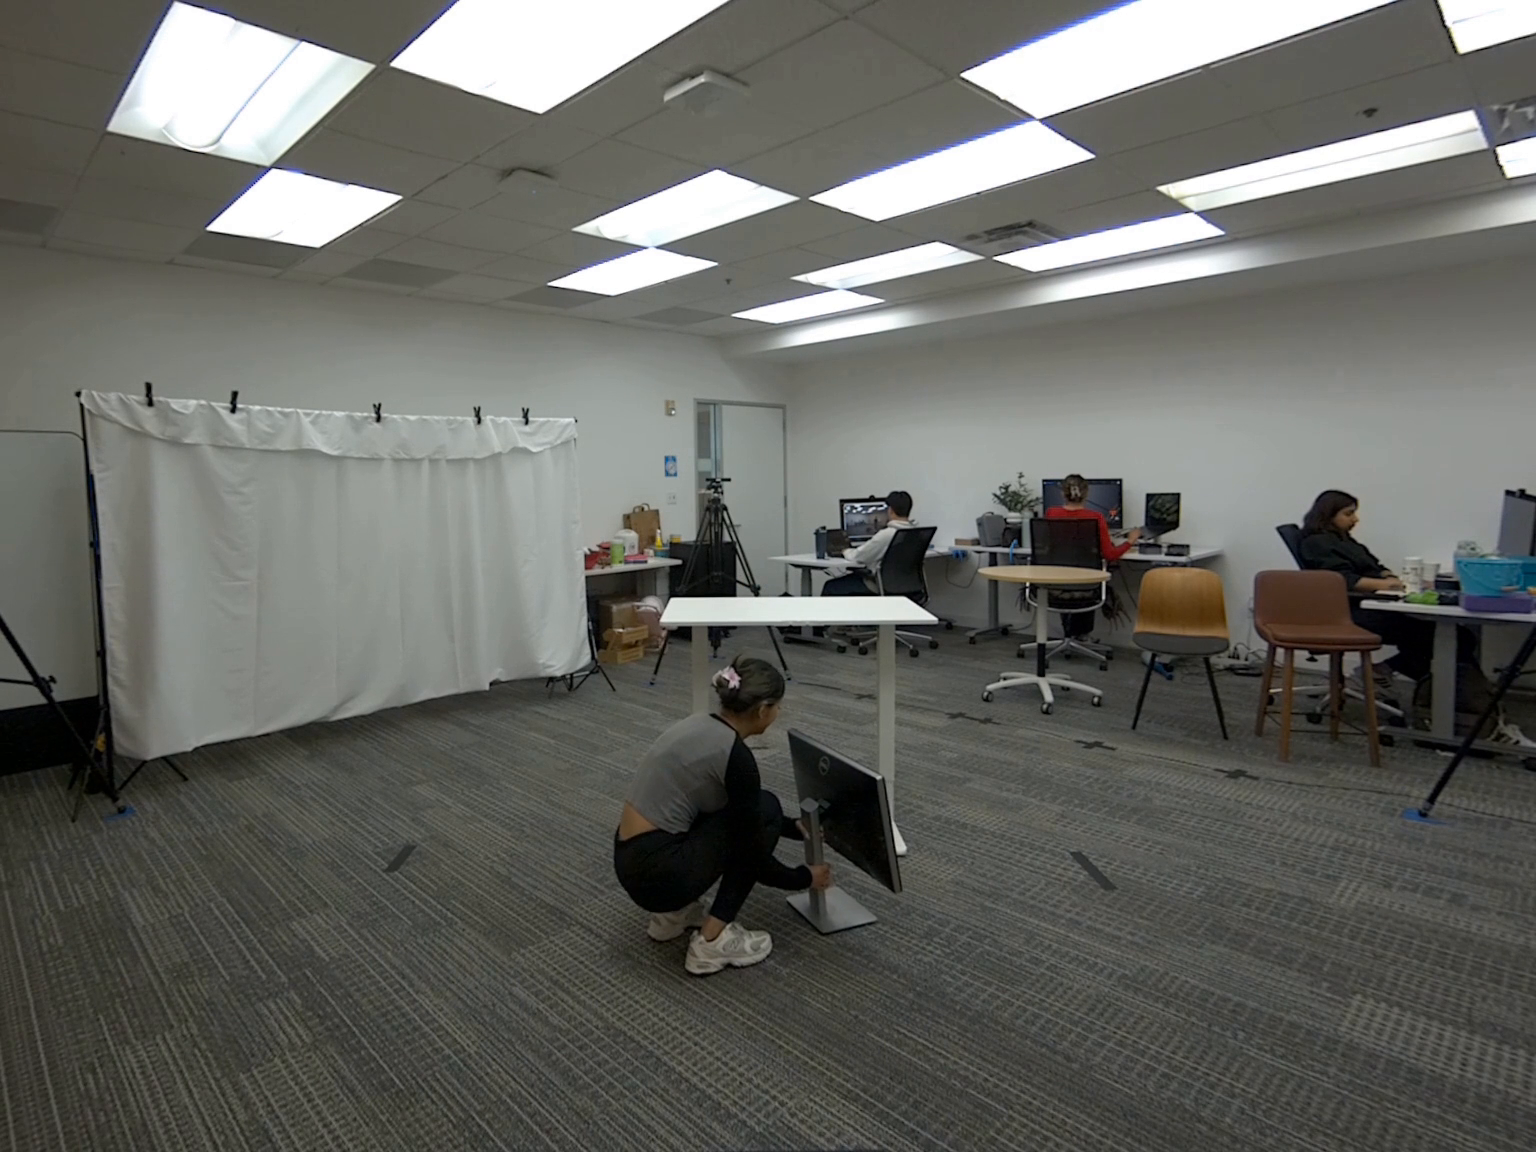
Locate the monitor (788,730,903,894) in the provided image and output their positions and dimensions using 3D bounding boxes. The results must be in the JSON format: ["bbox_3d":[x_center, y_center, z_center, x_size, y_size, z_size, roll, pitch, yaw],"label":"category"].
[{"bbox_3d":[0.204,0.818,2.724,0.183,0.521,0.554,0,5,-28],"label":"monitor"}]
